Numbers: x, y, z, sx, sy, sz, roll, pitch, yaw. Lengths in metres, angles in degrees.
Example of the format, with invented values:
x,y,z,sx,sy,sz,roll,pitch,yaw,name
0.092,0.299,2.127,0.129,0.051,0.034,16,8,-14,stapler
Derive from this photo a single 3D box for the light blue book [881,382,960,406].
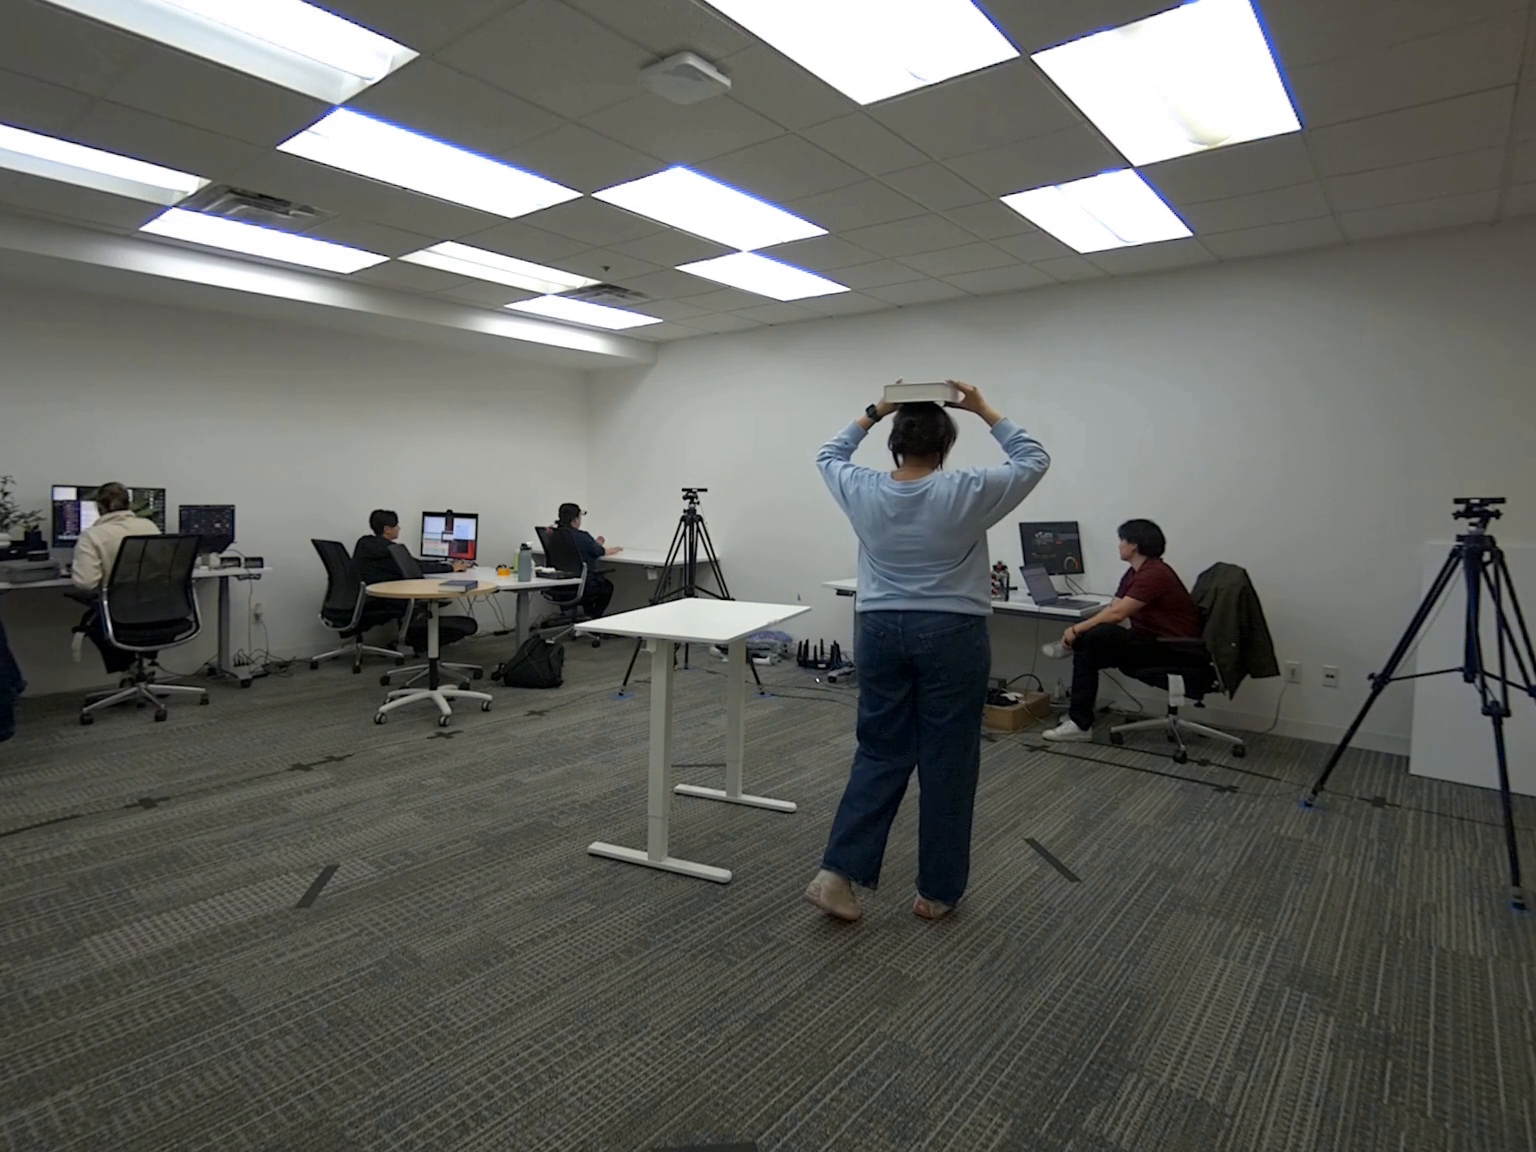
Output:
x,y,z,sx,sy,sz,roll,pitch,yaw,name
0.500,-0.596,2.798,0.195,0.059,0.257,3,7,18,light blue book
